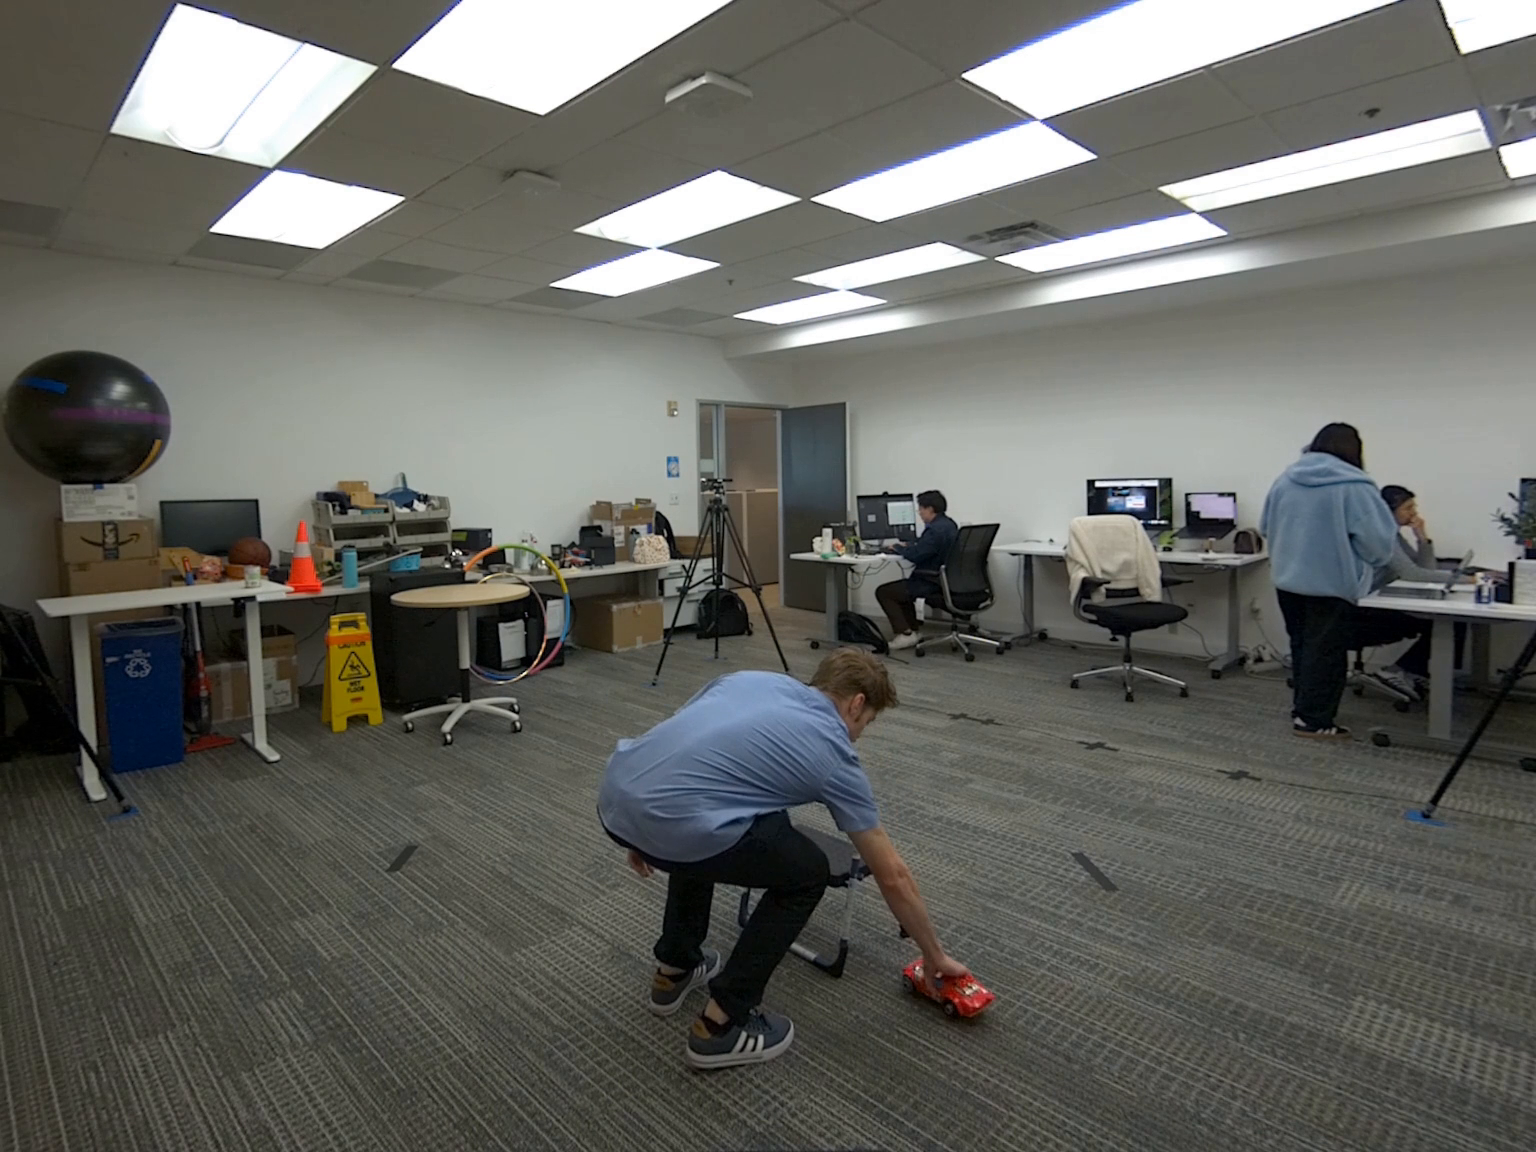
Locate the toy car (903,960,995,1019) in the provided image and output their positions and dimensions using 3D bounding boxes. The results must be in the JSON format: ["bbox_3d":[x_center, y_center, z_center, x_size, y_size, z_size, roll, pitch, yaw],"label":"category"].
[{"bbox_3d":[0.473,1.086,2.247,0.127,0.083,0.259,-8,-3,-35],"label":"toy car"}]
